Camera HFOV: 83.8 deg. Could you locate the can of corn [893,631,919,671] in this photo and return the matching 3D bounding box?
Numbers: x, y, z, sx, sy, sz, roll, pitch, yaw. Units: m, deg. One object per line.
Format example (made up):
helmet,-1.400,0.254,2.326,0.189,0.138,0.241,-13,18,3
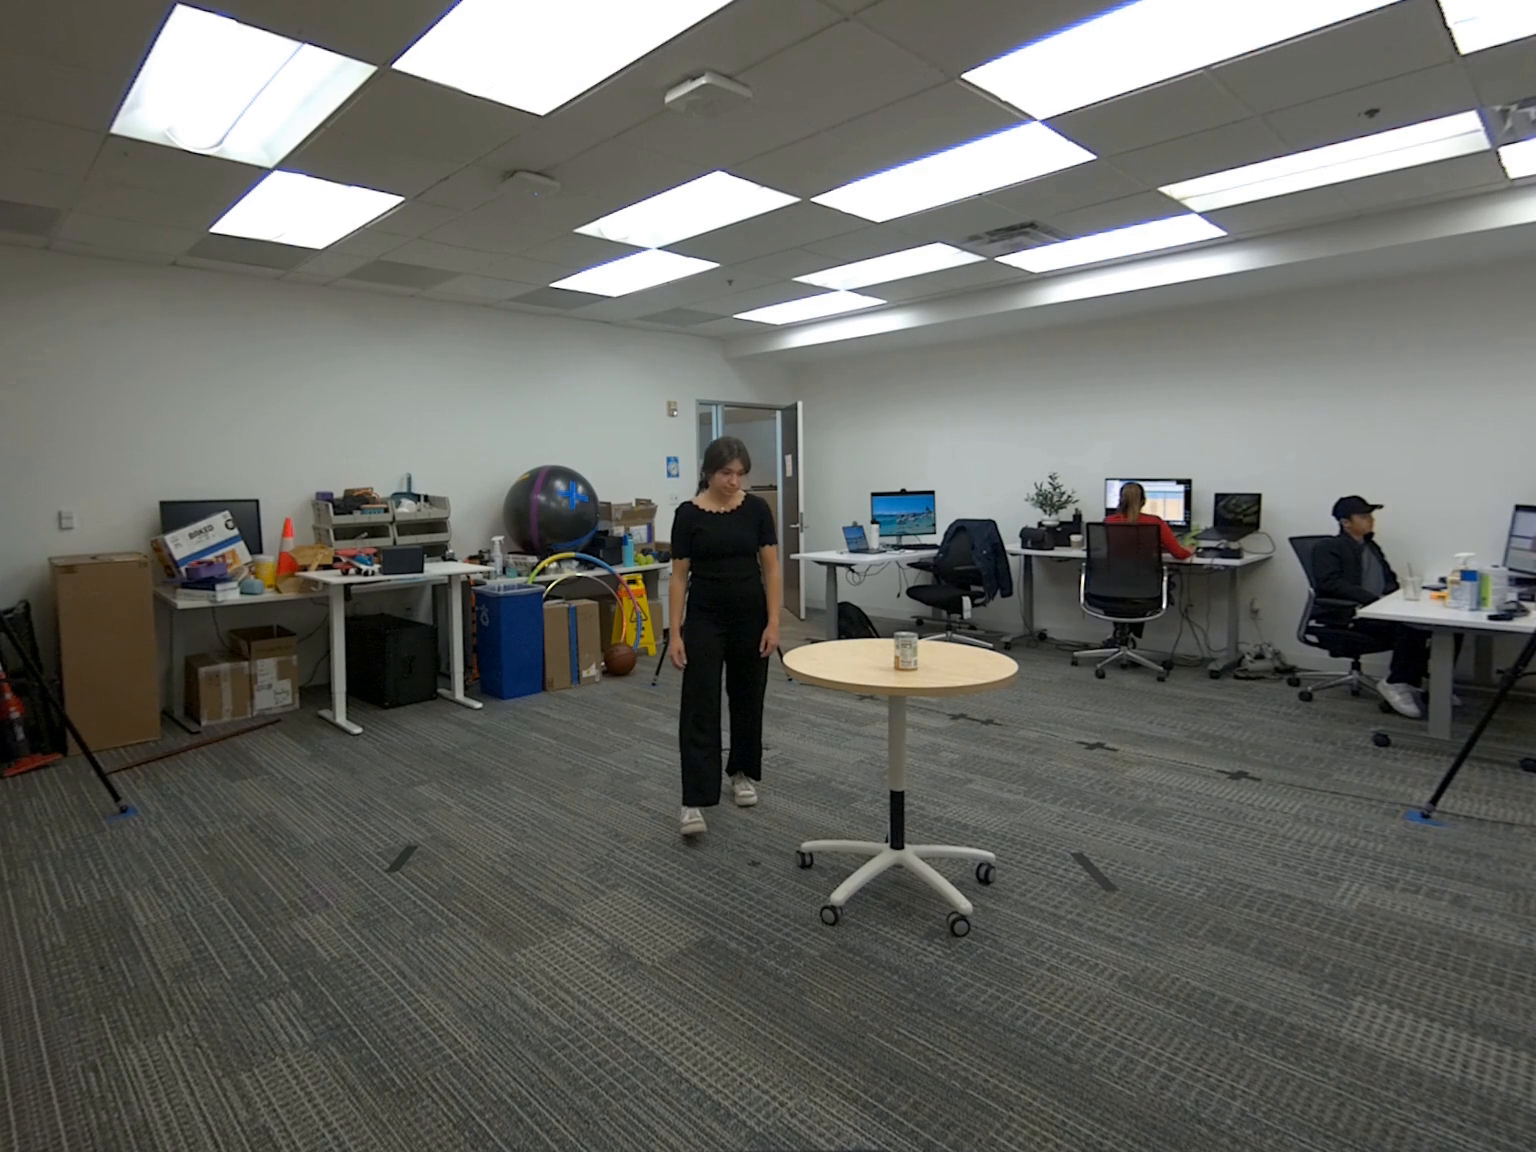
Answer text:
can of corn,0.448,0.243,2.710,0.074,0.110,0.074,1,5,-2
